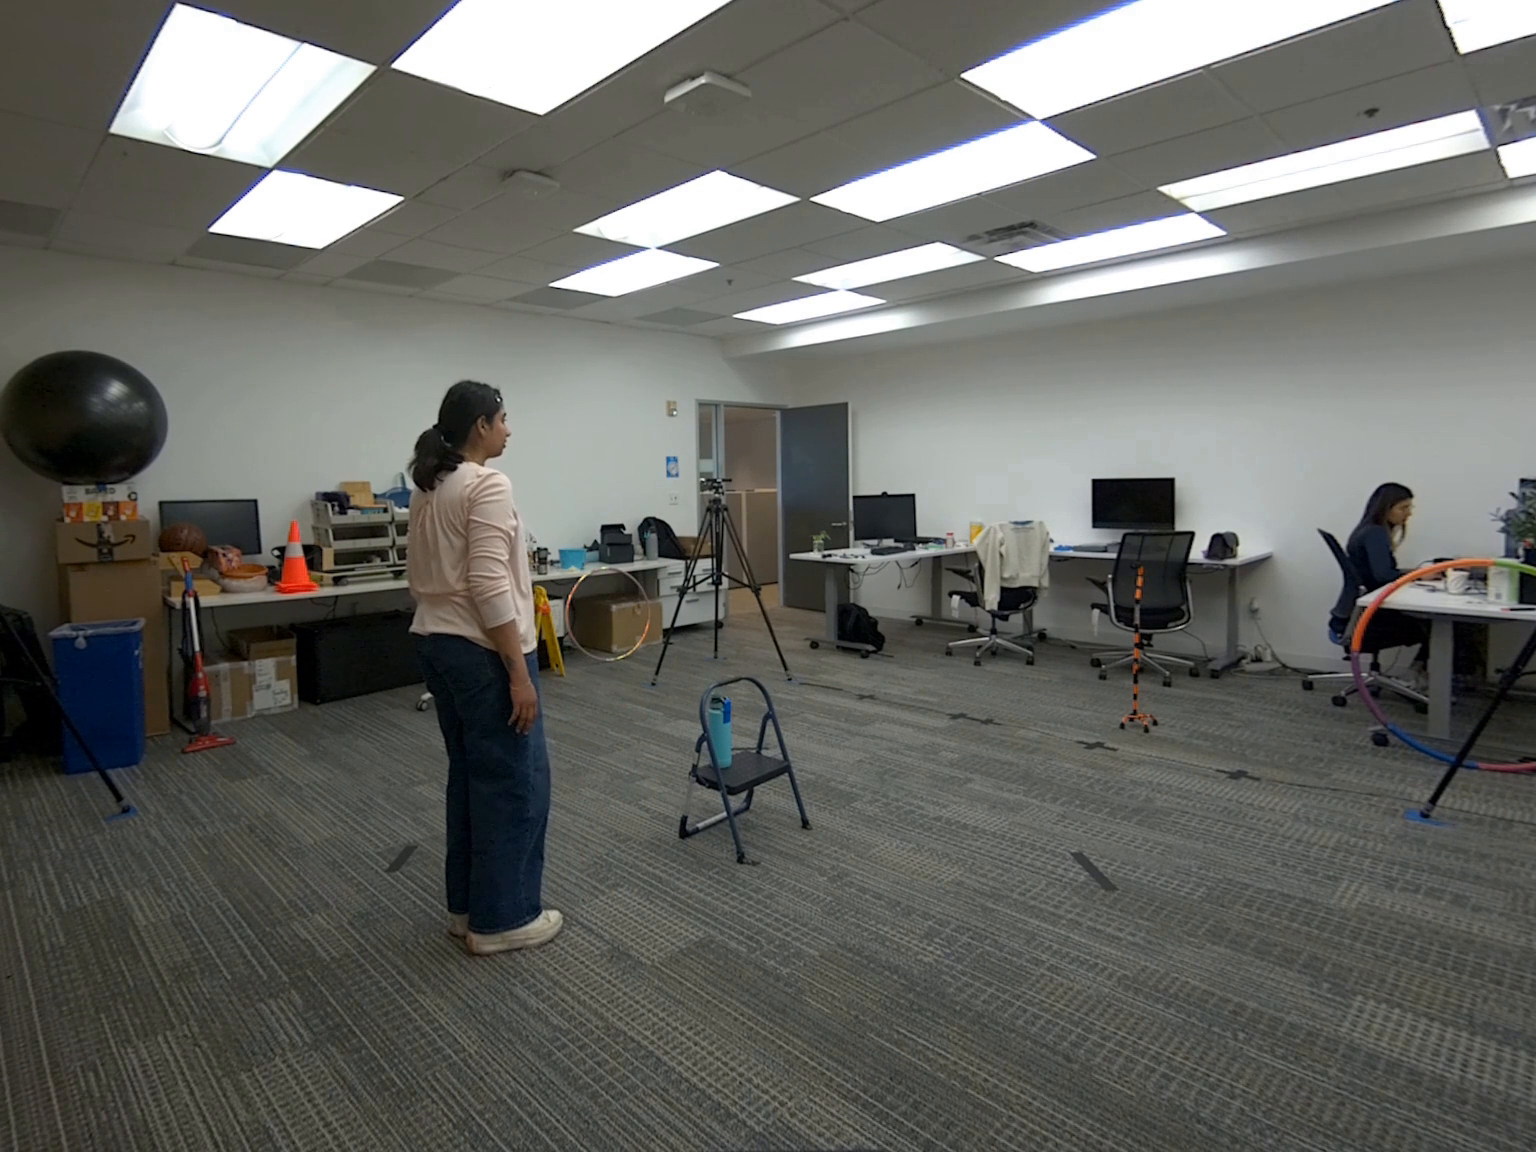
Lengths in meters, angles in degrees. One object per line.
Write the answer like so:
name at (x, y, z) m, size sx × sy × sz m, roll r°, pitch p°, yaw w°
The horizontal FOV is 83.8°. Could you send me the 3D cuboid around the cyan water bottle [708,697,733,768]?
cyan water bottle at (-0.188, 0.614, 3.390) m, size 0.092 × 0.283 × 0.092 m, roll -1°, pitch 1°, yaw -2°
